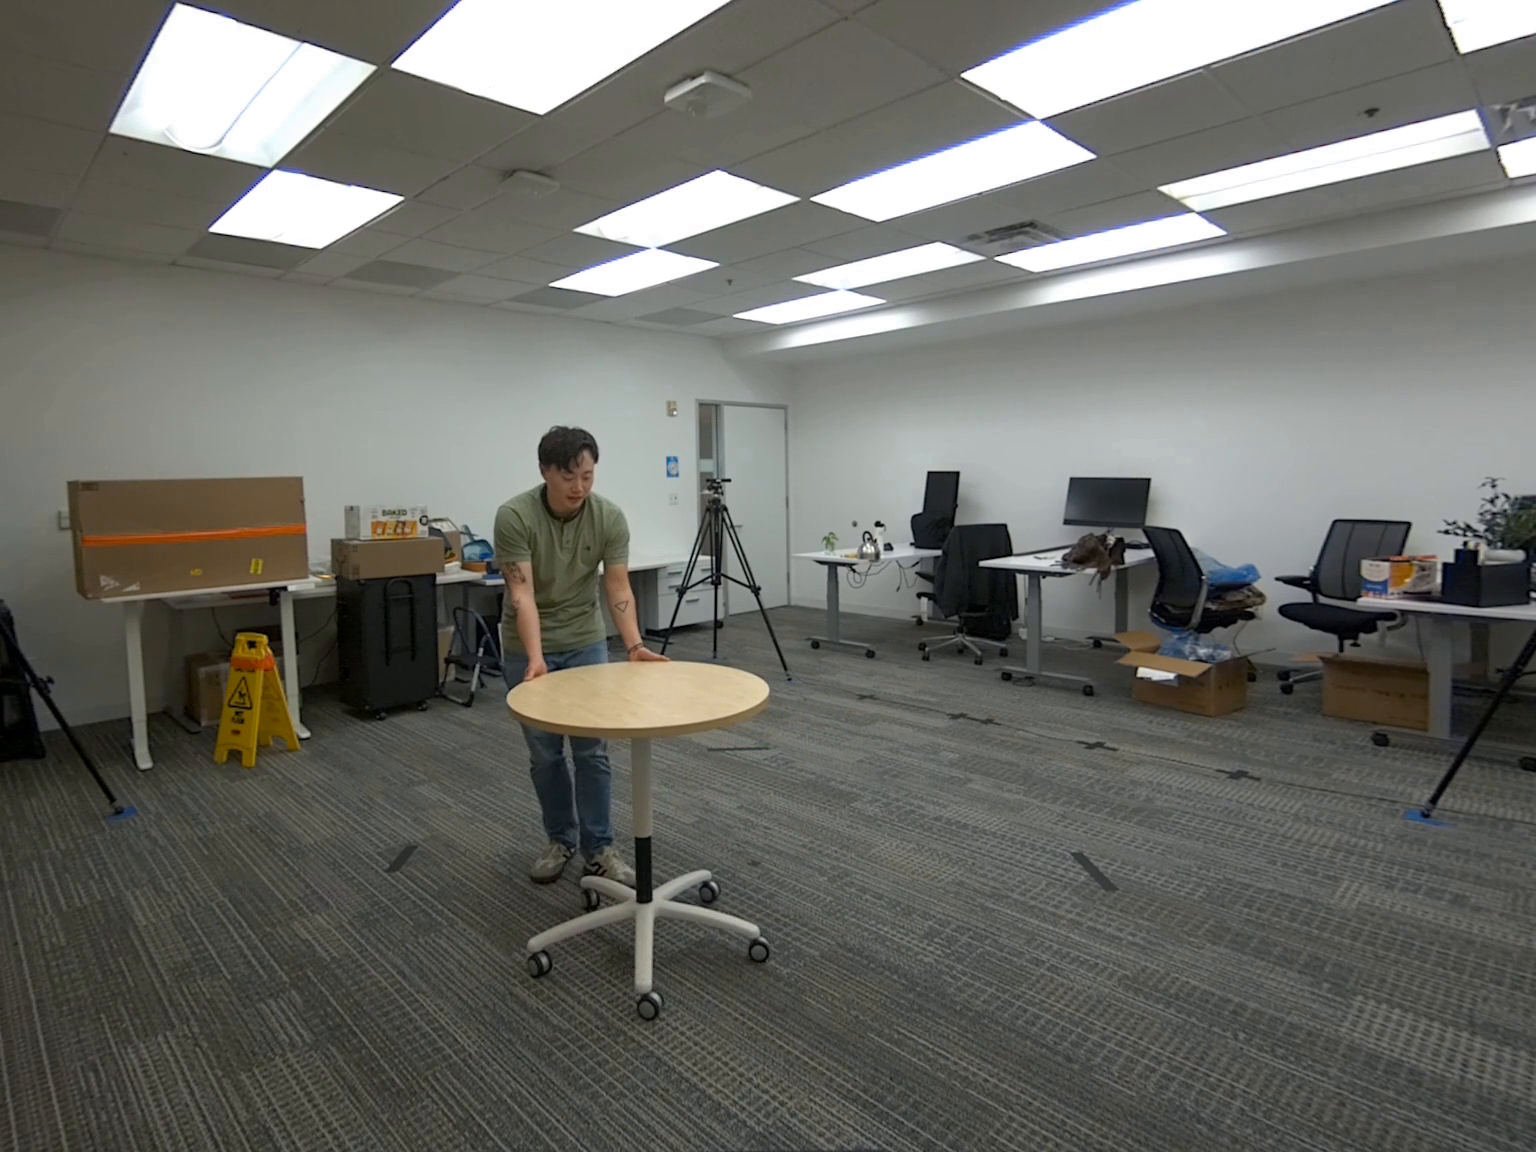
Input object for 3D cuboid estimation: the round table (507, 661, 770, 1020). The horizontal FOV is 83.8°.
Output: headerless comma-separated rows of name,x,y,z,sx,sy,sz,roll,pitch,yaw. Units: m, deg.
round table,-0.364,0.727,2.545,0.763,0.791,0.768,-1,5,-2
